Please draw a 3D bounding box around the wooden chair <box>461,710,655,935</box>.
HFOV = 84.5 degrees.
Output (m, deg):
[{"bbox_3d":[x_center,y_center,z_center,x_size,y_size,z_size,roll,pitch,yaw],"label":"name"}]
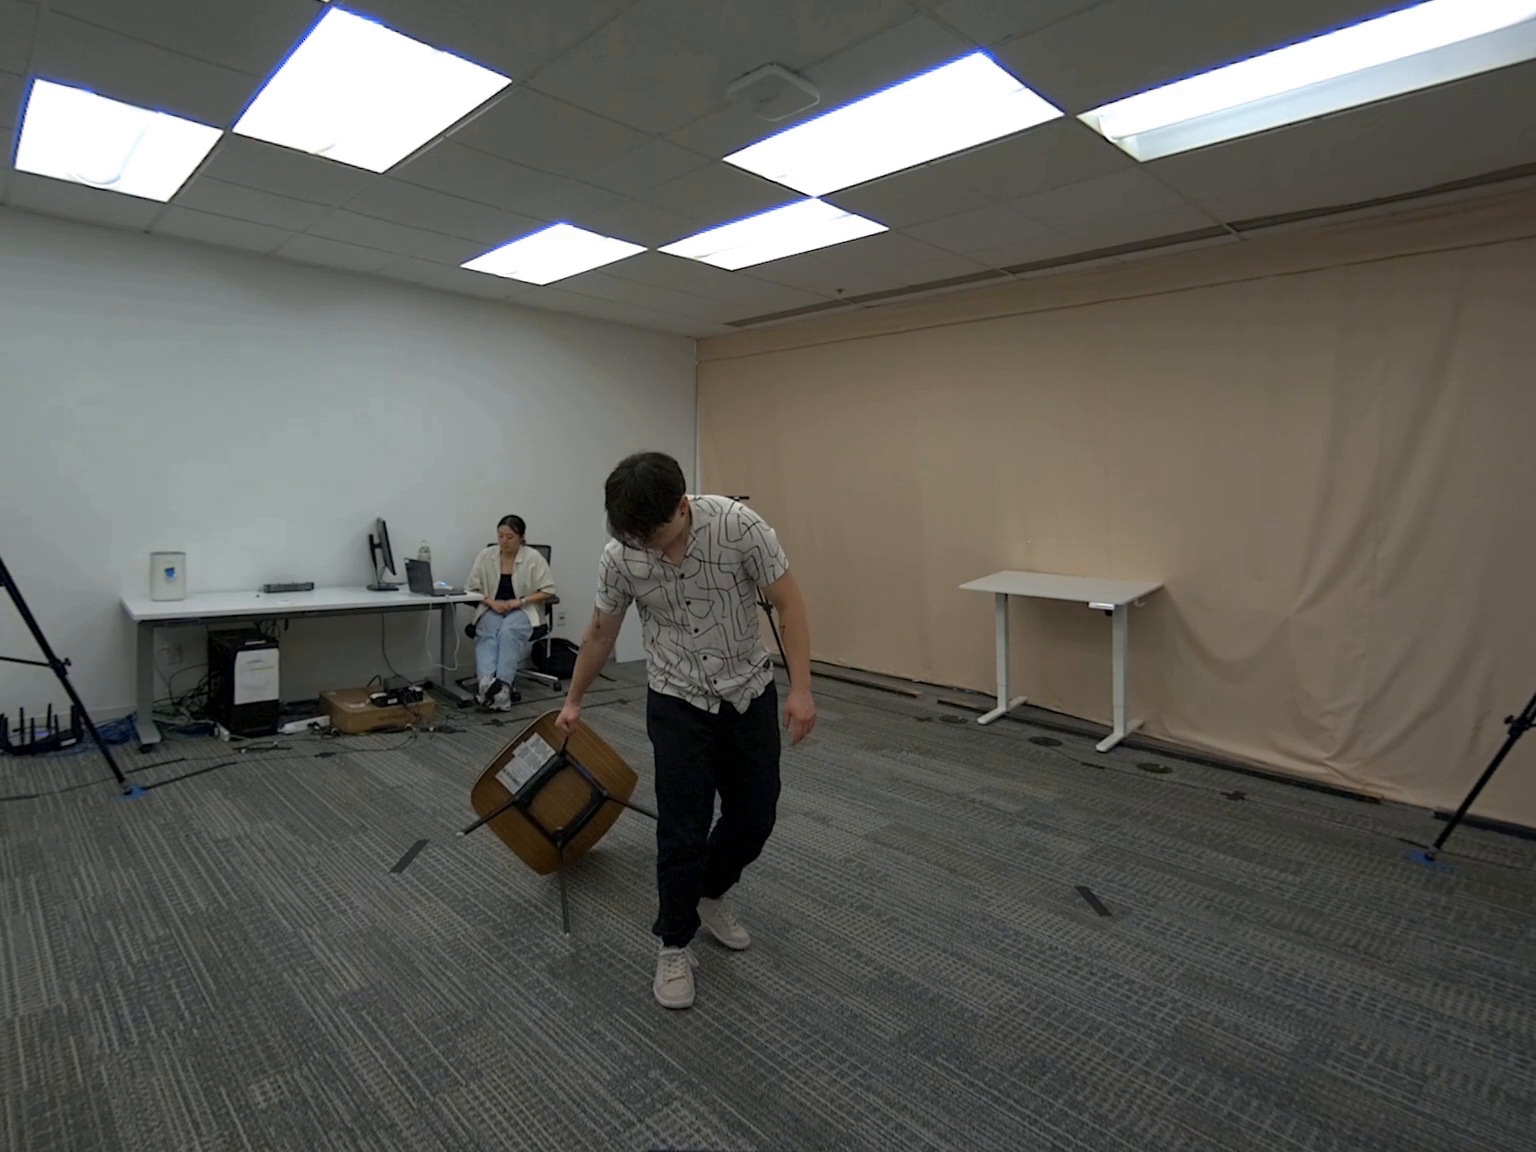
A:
[{"bbox_3d":[-0.719,0.772,2.899,0.521,0.478,0.881,45,-13,-5],"label":"wooden chair"}]
